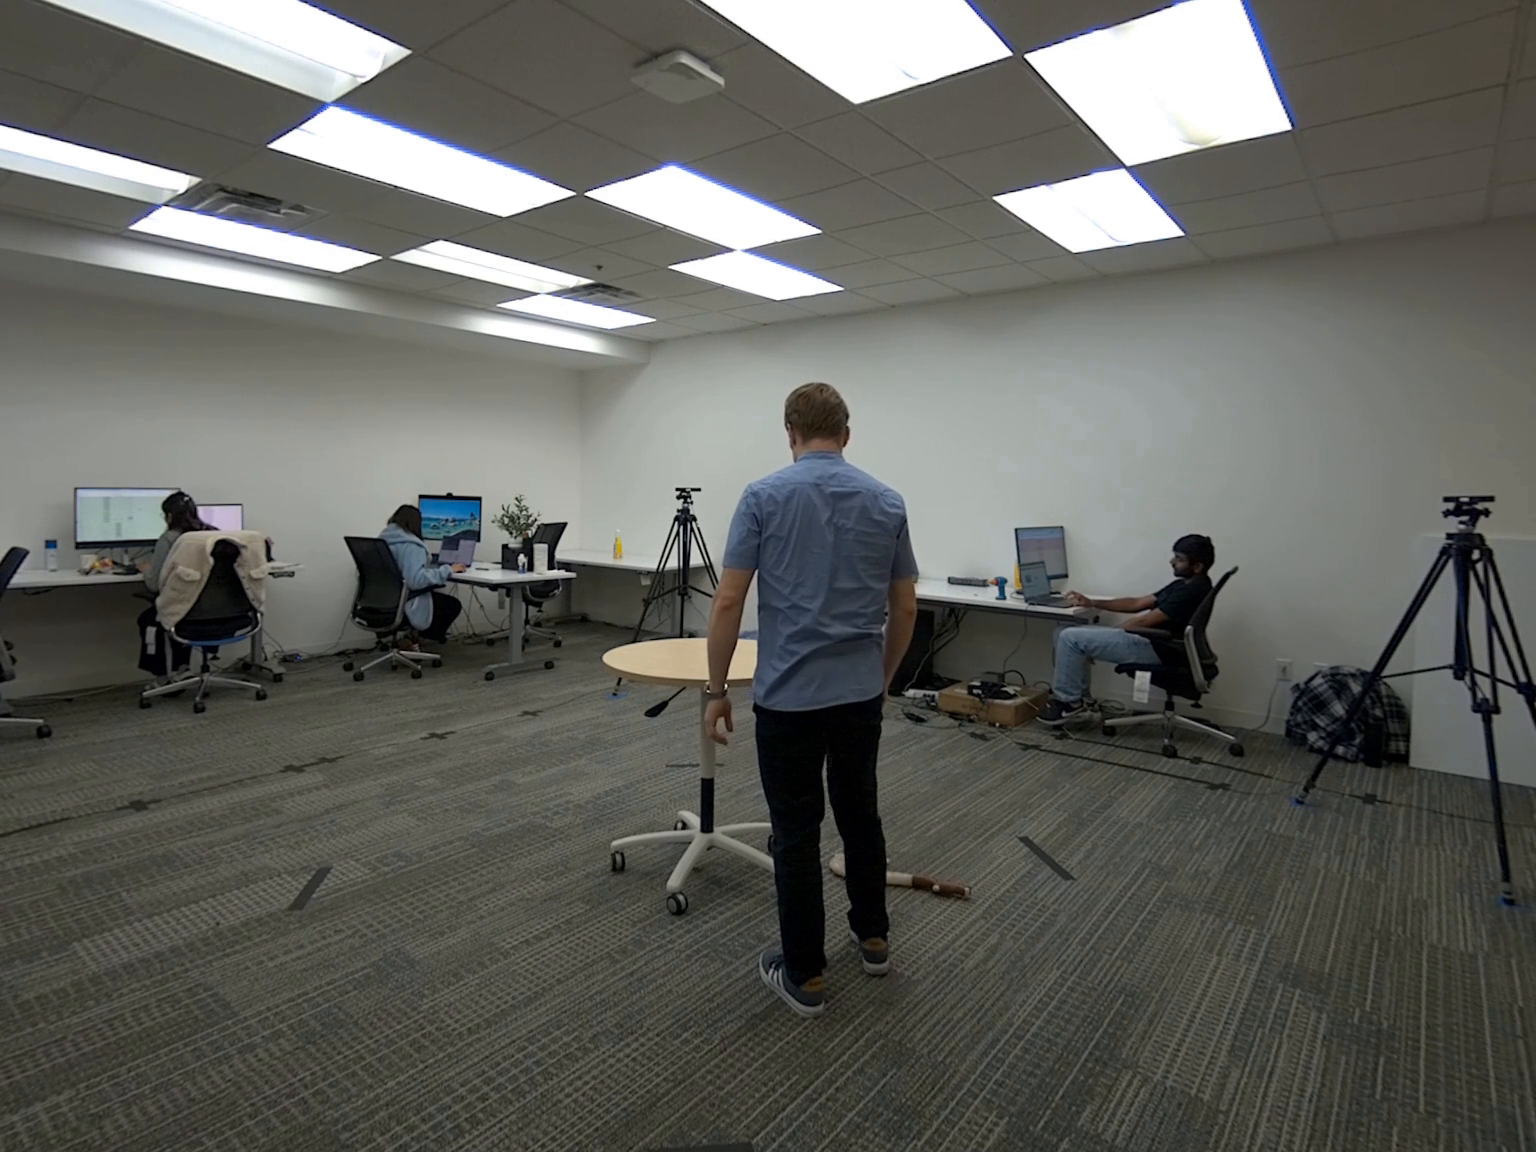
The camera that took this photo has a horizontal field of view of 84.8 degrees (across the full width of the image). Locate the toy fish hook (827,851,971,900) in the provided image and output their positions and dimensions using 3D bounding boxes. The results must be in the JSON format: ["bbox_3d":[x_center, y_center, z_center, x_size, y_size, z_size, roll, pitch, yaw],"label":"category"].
[{"bbox_3d":[0.463,1.062,3.069,0.519,0.048,0.220,4,7,22],"label":"toy fish hook"}]
